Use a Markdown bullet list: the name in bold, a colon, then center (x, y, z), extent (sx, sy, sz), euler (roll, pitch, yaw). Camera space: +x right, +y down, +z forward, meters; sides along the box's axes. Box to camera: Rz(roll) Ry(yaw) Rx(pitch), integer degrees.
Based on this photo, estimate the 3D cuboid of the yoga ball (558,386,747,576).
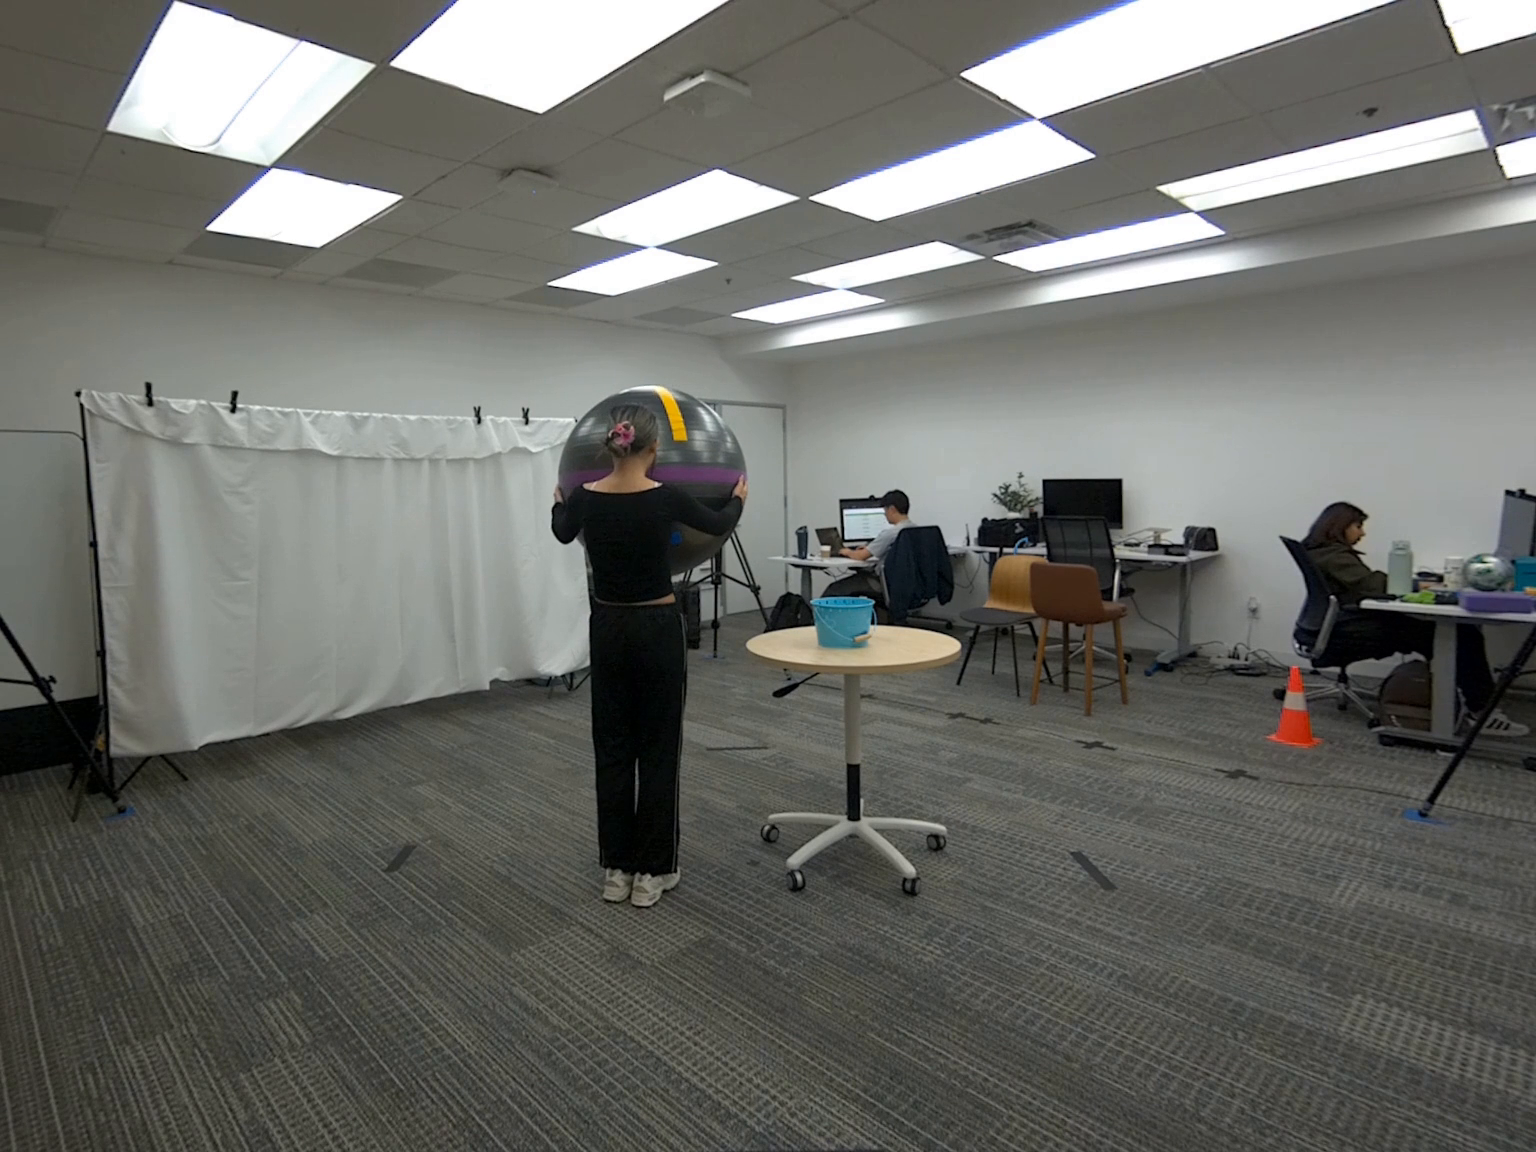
- **yoga ball**: center (-0.459, -0.365, 3.435), extent (0.757, 0.755, 0.762), euler (-1, 5, -2)
